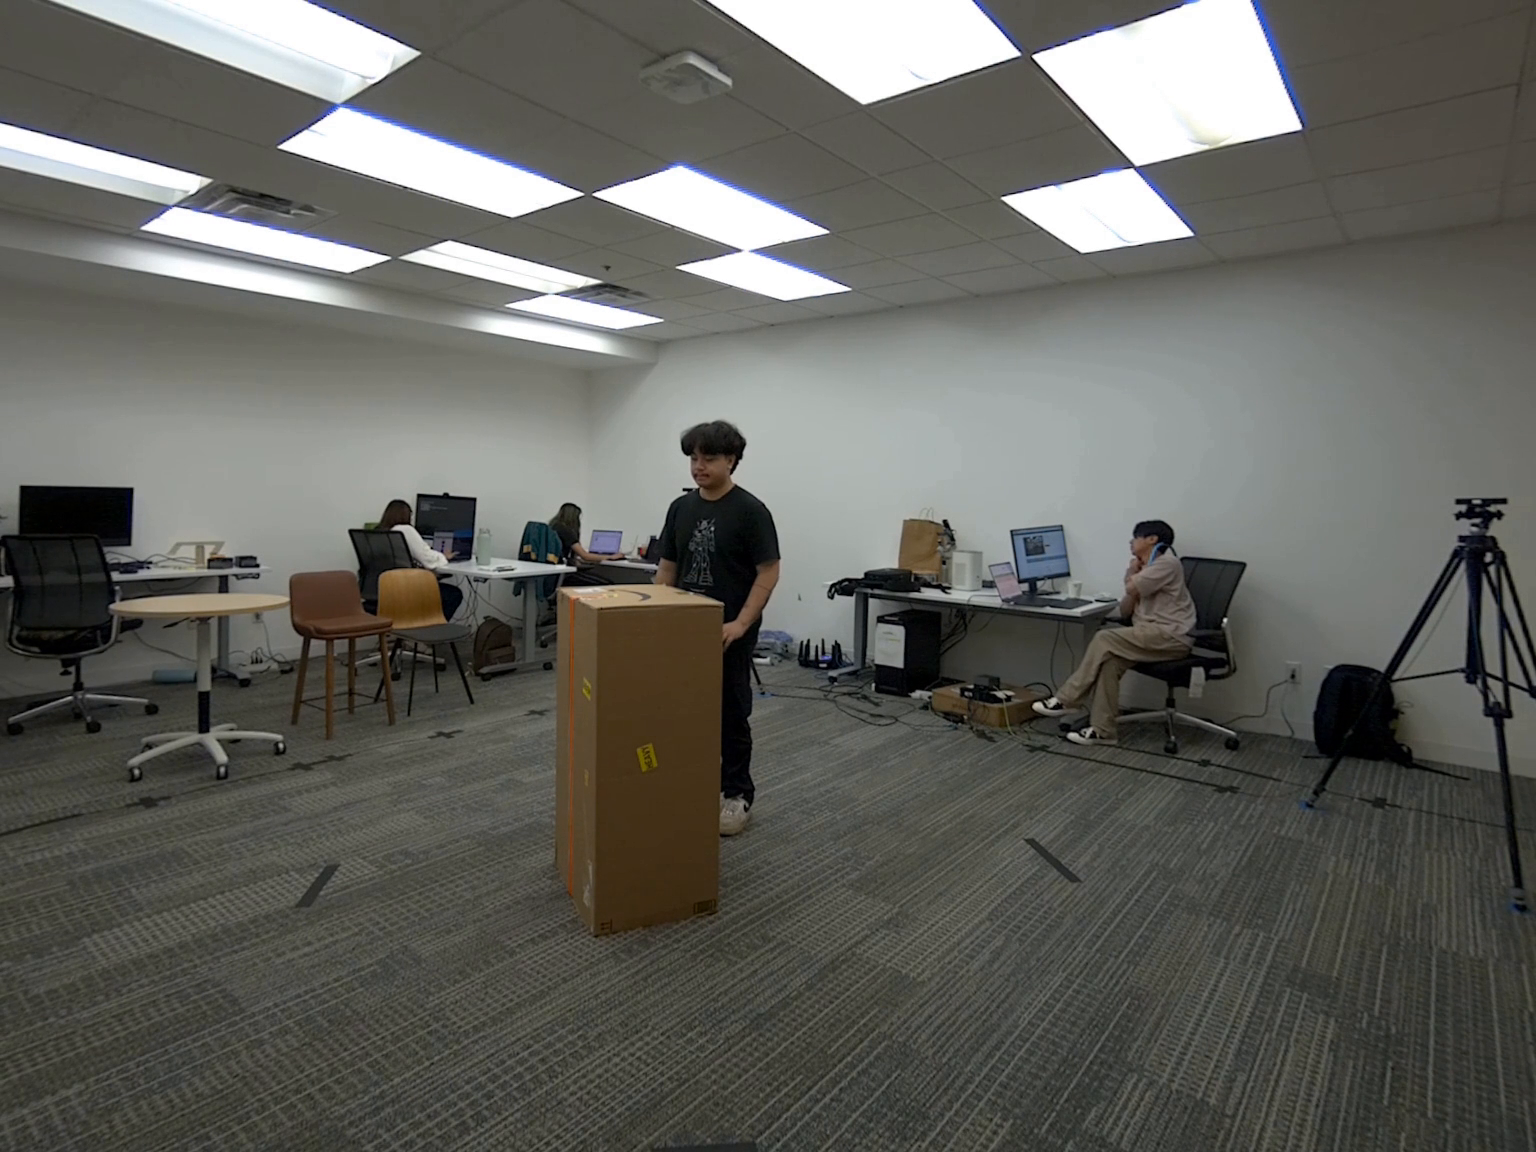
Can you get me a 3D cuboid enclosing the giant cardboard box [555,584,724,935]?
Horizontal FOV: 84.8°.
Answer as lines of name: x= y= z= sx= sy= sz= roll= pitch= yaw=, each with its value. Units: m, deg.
giant cardboard box: x=-0.479 y=0.569 z=2.939 sx=0.436 sy=1.024 sz=0.599 roll=-1 pitch=4 yaw=-25
